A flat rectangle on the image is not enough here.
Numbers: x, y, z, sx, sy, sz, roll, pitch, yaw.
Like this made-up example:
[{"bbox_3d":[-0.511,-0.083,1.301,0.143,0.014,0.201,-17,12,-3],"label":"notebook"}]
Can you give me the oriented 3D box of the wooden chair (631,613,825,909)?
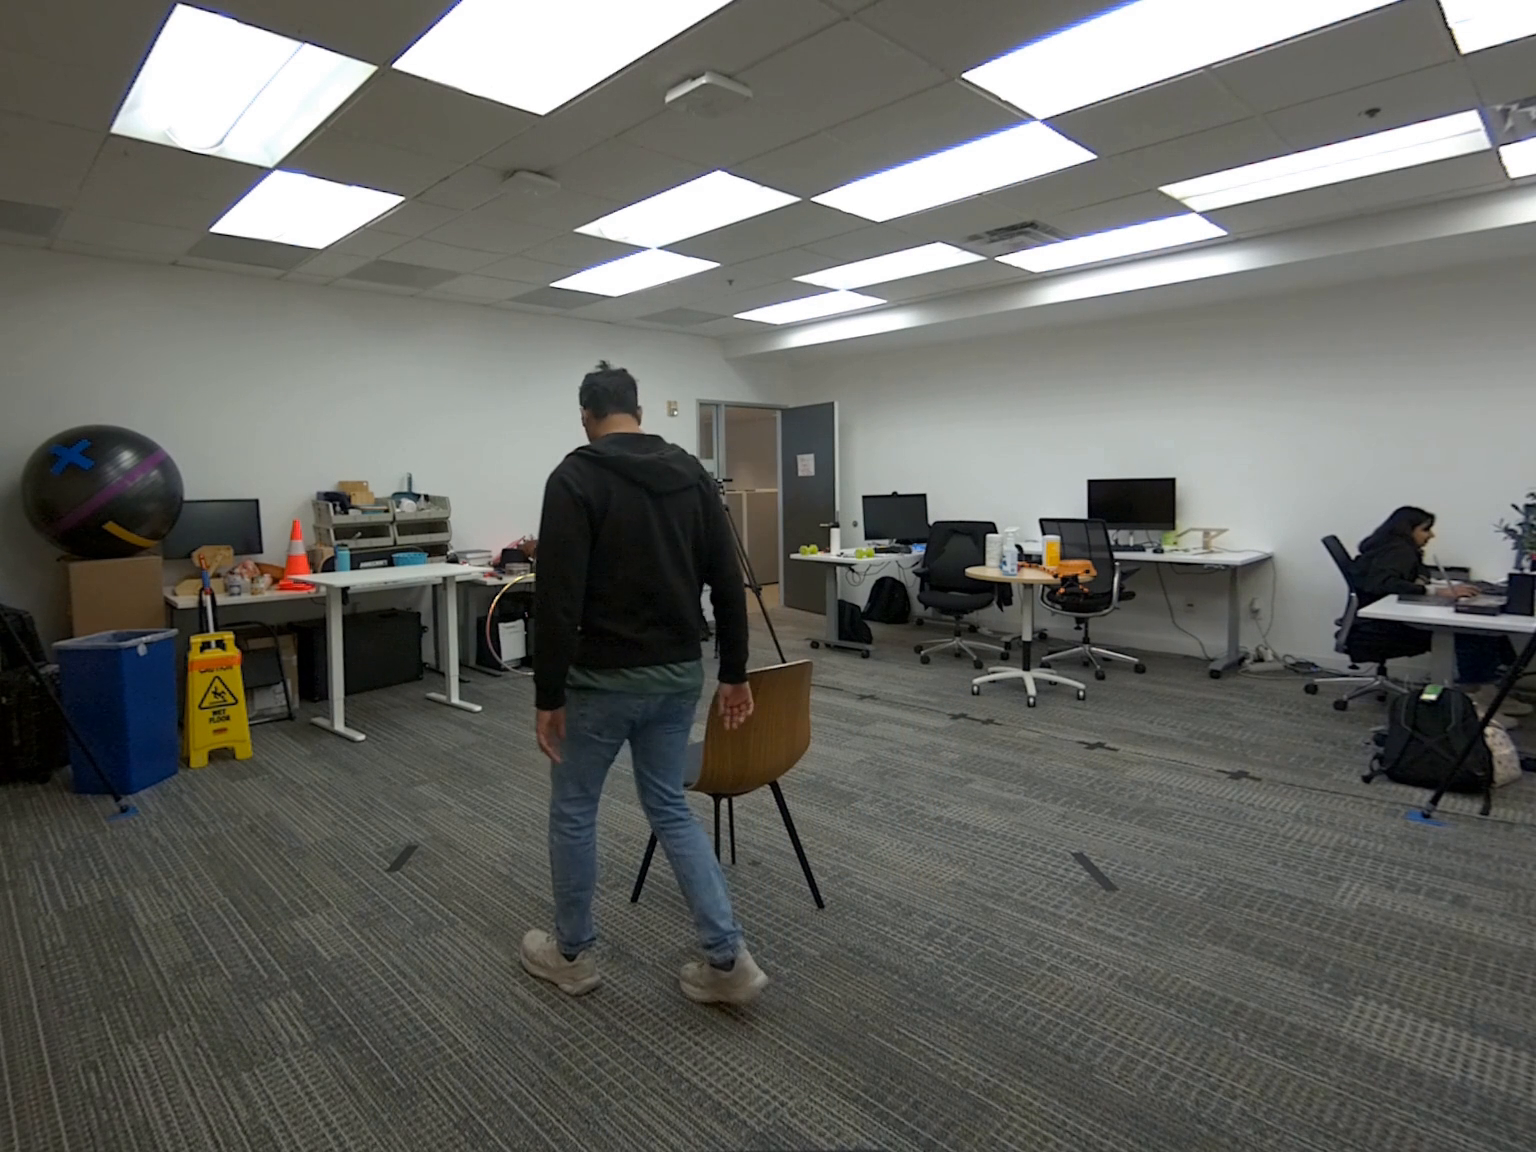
[{"bbox_3d":[-0.139,0.659,2.779,0.466,0.871,0.541,-5,11,-41],"label":"wooden chair"}]
